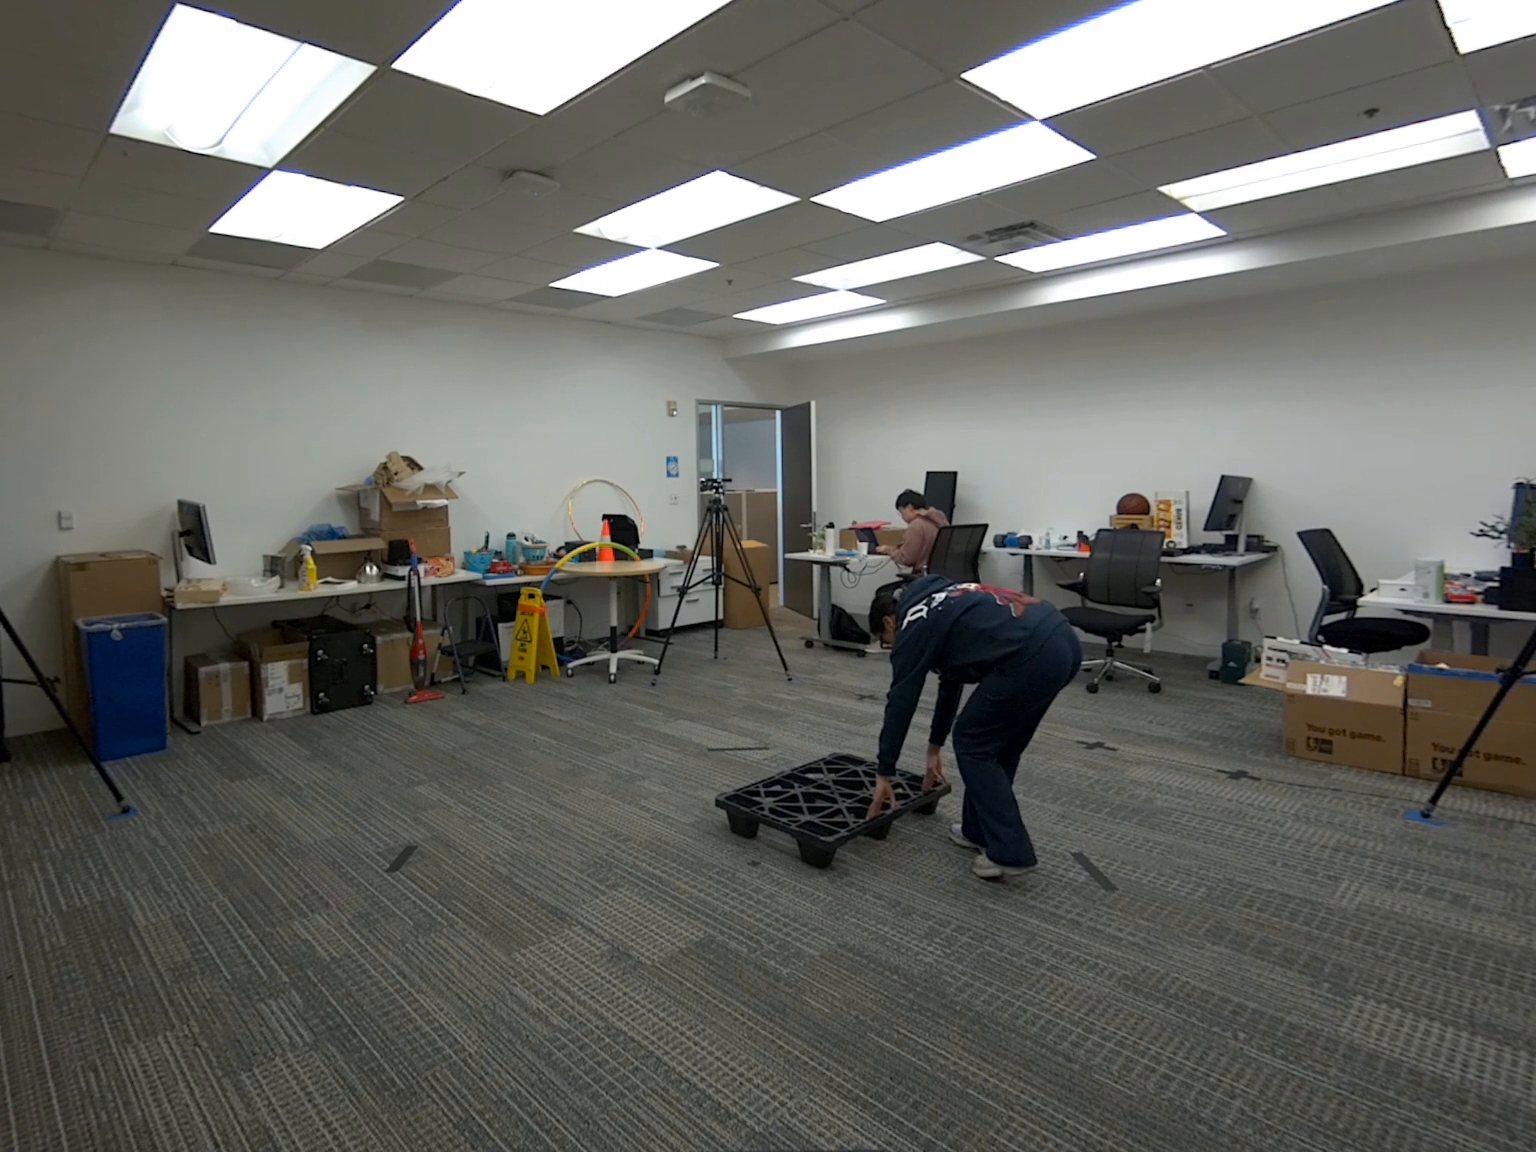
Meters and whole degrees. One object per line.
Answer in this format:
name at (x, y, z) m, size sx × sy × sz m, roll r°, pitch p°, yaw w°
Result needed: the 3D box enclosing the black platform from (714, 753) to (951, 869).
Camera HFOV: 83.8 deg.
black platform at (0.275, 0.932, 3.463) m, size 0.624 × 0.142 × 0.784 m, roll 6°, pitch 9°, yaw 45°
